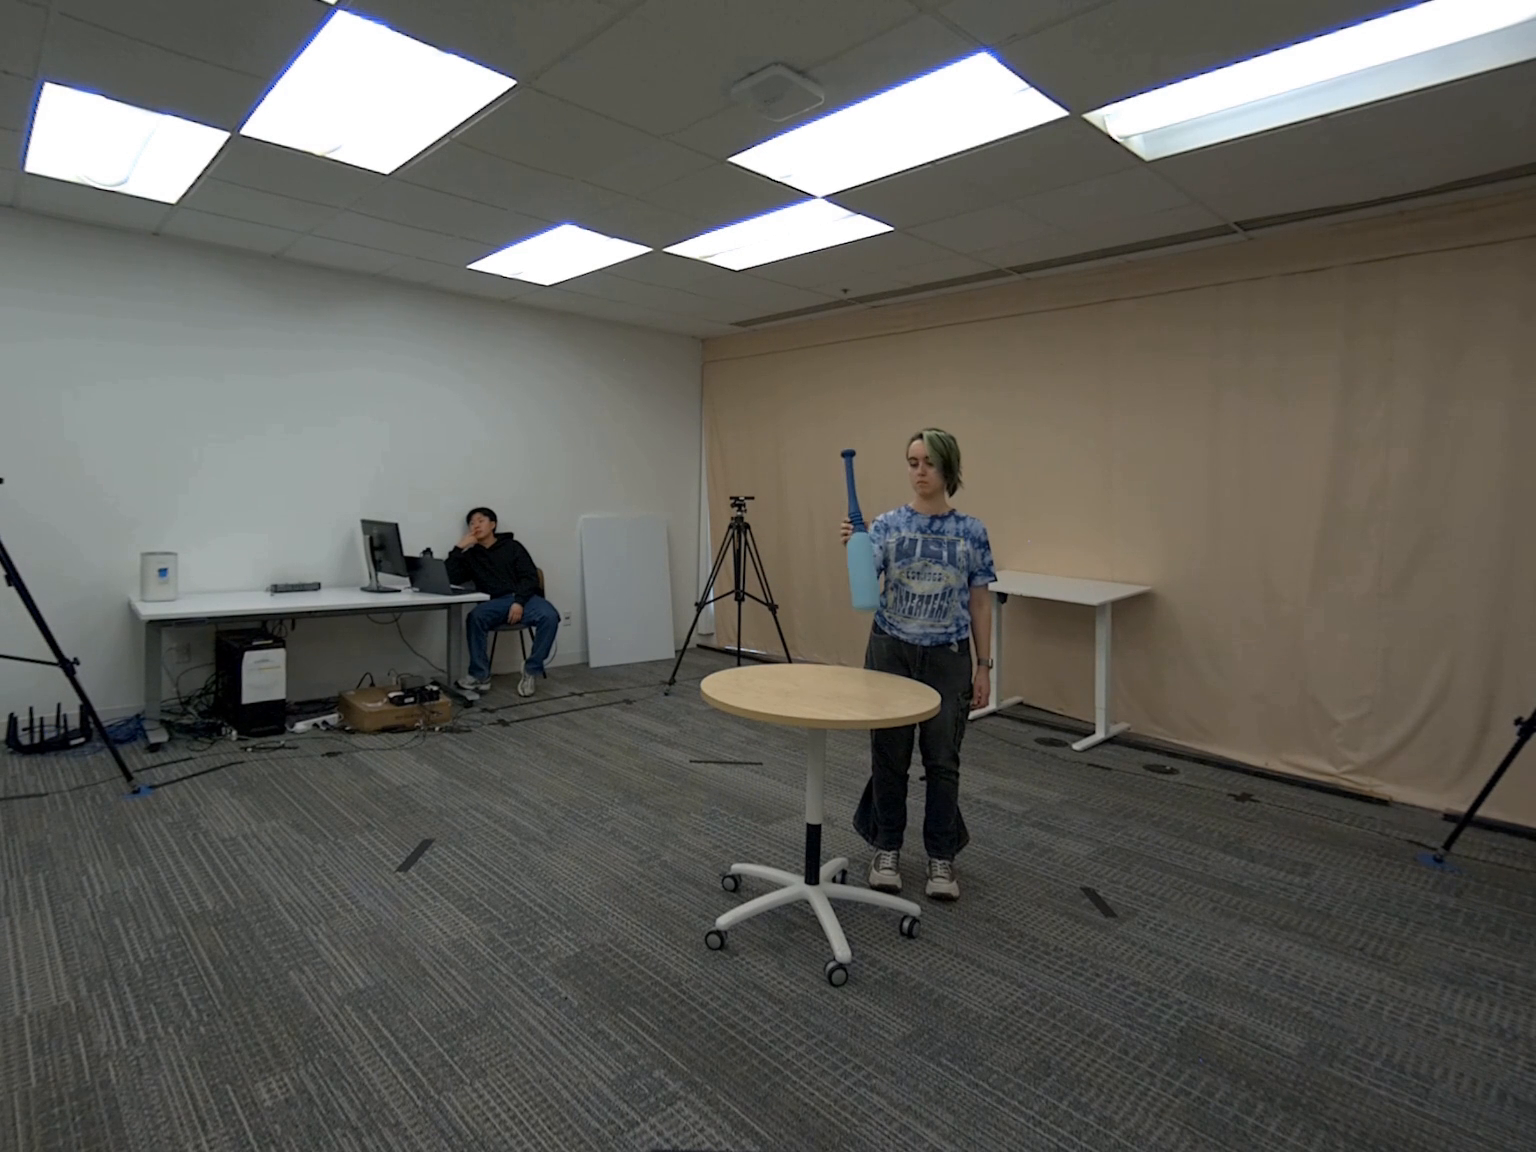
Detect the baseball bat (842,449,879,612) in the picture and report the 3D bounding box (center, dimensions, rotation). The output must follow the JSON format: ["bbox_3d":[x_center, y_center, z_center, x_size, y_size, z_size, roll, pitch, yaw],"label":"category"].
[{"bbox_3d":[0.284,-0.153,2.703,0.089,0.550,0.088,-5,-15,-3],"label":"baseball bat"}]
